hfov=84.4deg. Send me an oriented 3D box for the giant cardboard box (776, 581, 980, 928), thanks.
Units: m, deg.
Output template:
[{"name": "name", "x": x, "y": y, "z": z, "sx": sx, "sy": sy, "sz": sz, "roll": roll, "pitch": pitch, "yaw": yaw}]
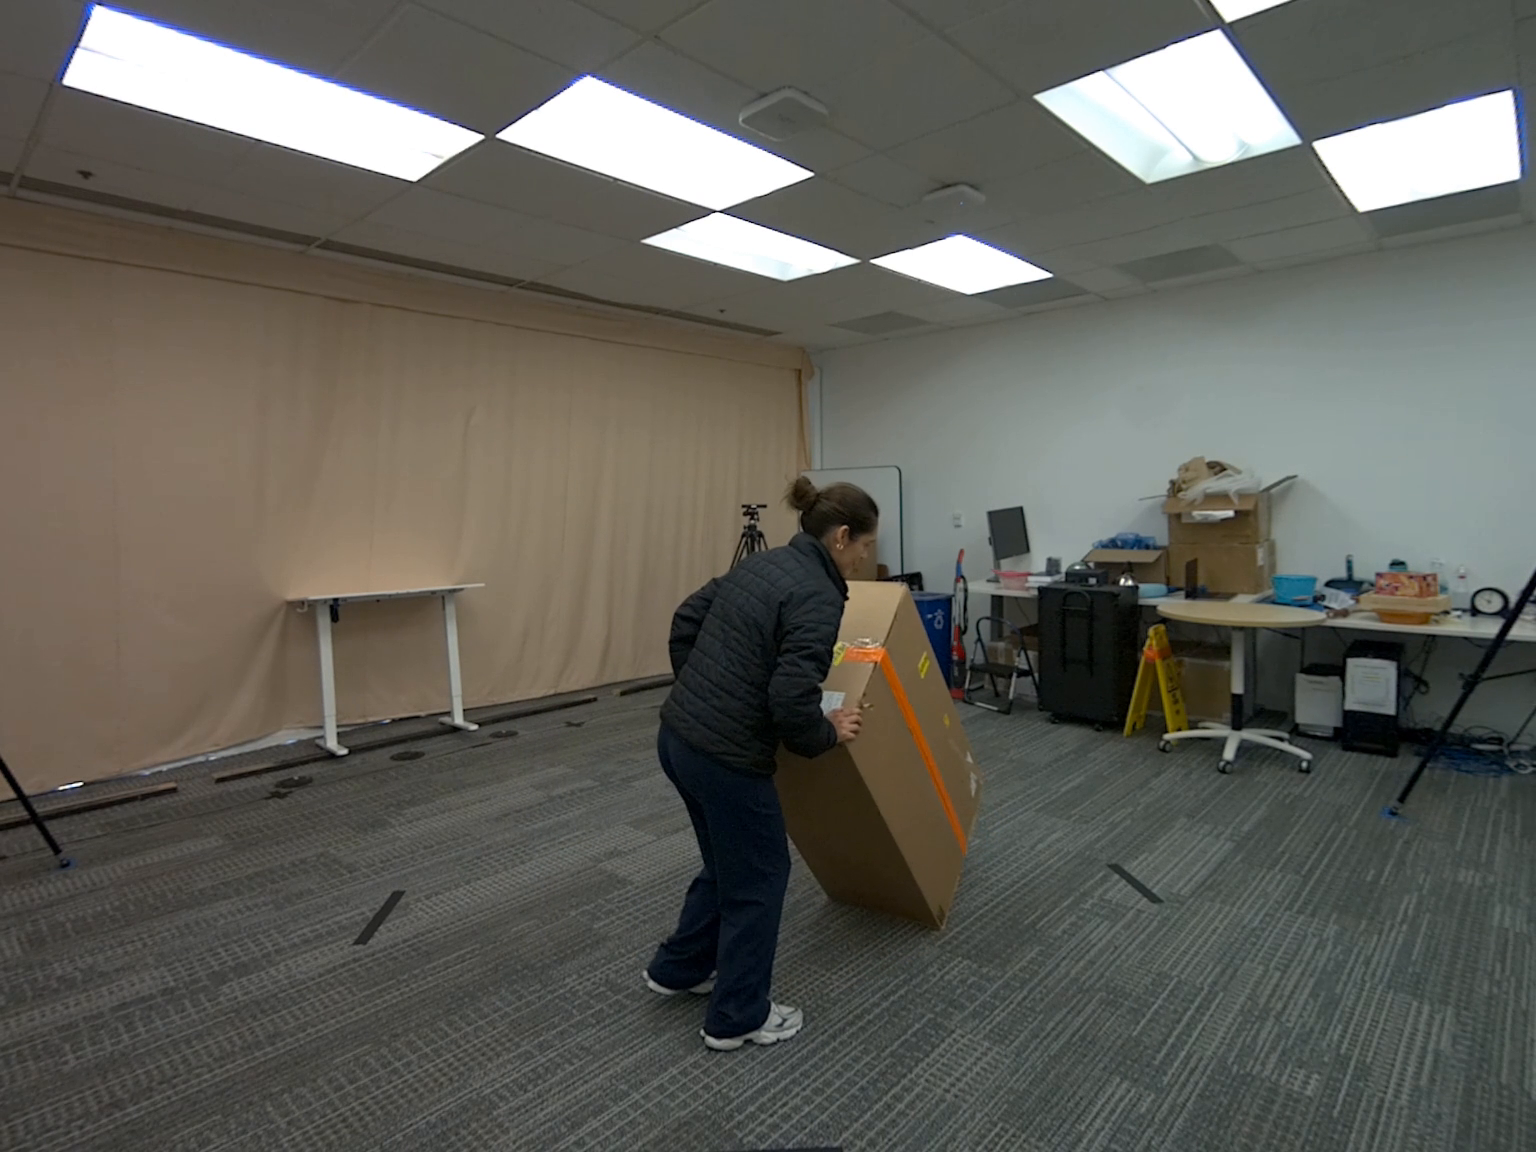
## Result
[{"name": "giant cardboard box", "x": 0.332, "y": 0.582, "z": 2.750, "sx": 0.461, "sy": 0.997, "sz": 0.583, "roll": 2, "pitch": 44, "yaw": 34}]
